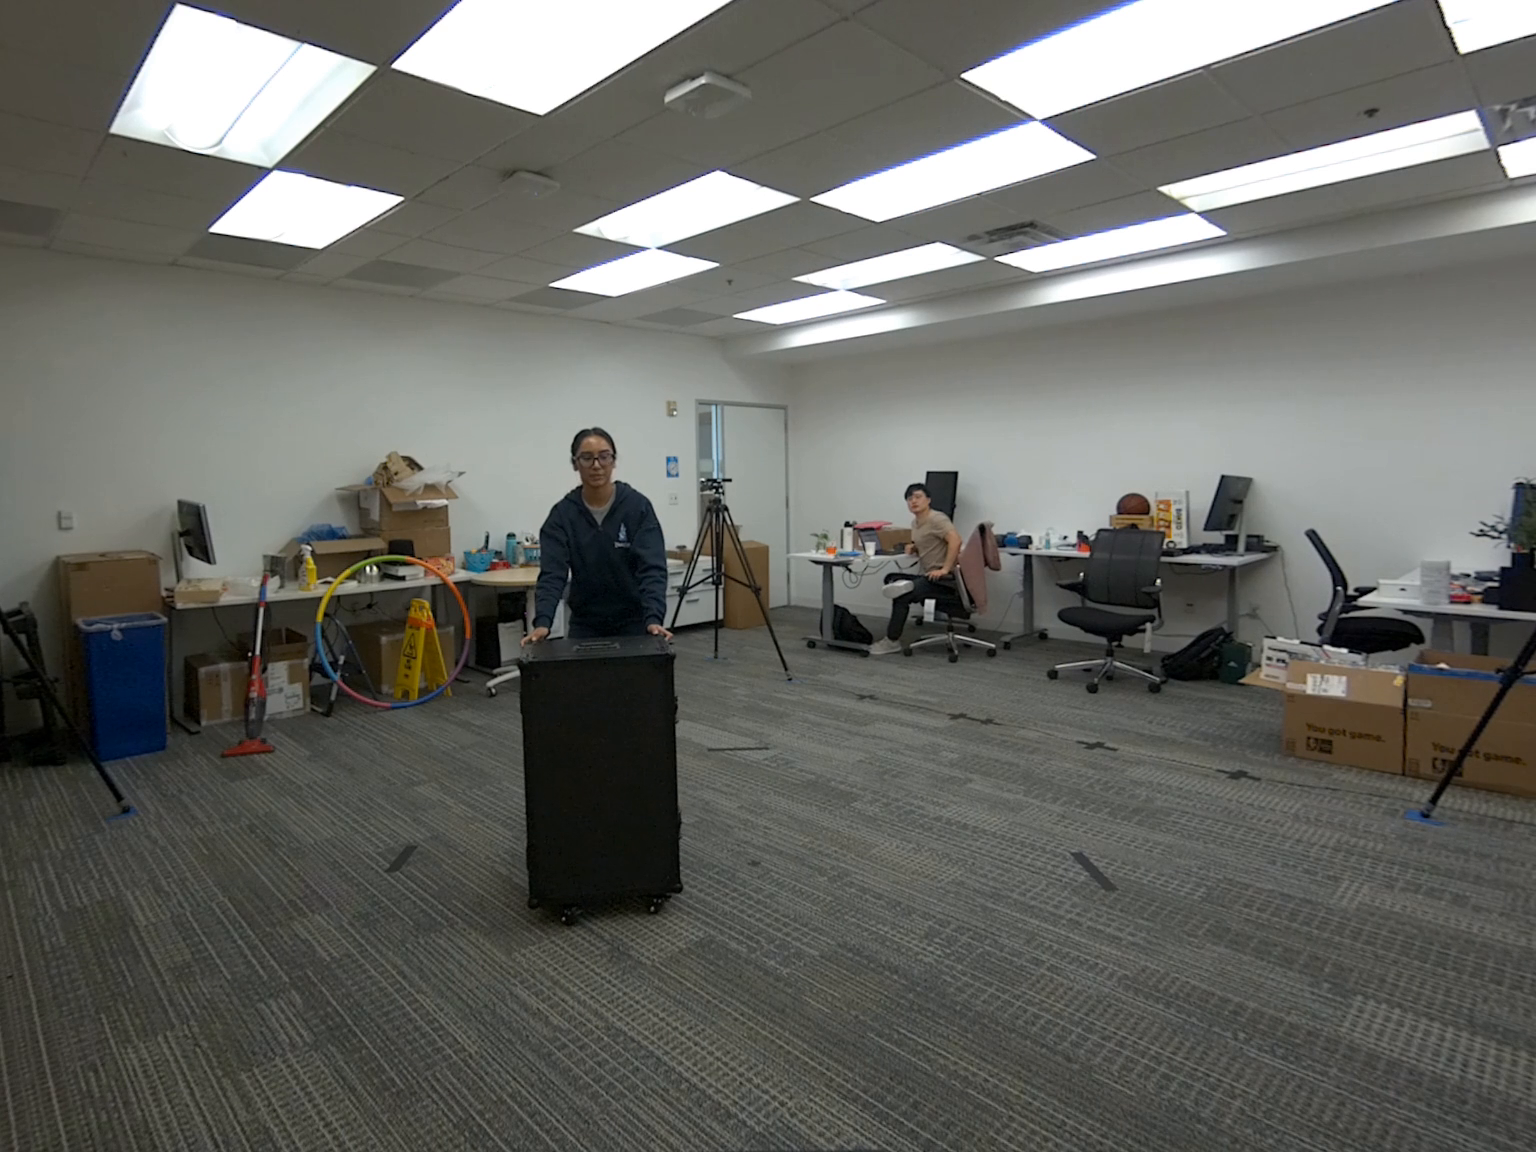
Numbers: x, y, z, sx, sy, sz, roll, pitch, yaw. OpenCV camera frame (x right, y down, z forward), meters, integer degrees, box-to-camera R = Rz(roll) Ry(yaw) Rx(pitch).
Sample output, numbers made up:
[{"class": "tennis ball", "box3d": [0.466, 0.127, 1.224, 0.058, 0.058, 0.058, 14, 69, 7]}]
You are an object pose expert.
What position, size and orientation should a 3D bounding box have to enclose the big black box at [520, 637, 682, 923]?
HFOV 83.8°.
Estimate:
[{"class": "big black box", "box3d": [-0.566, 0.658, 2.869, 0.516, 0.860, 0.401, -2, 2, -11]}]
